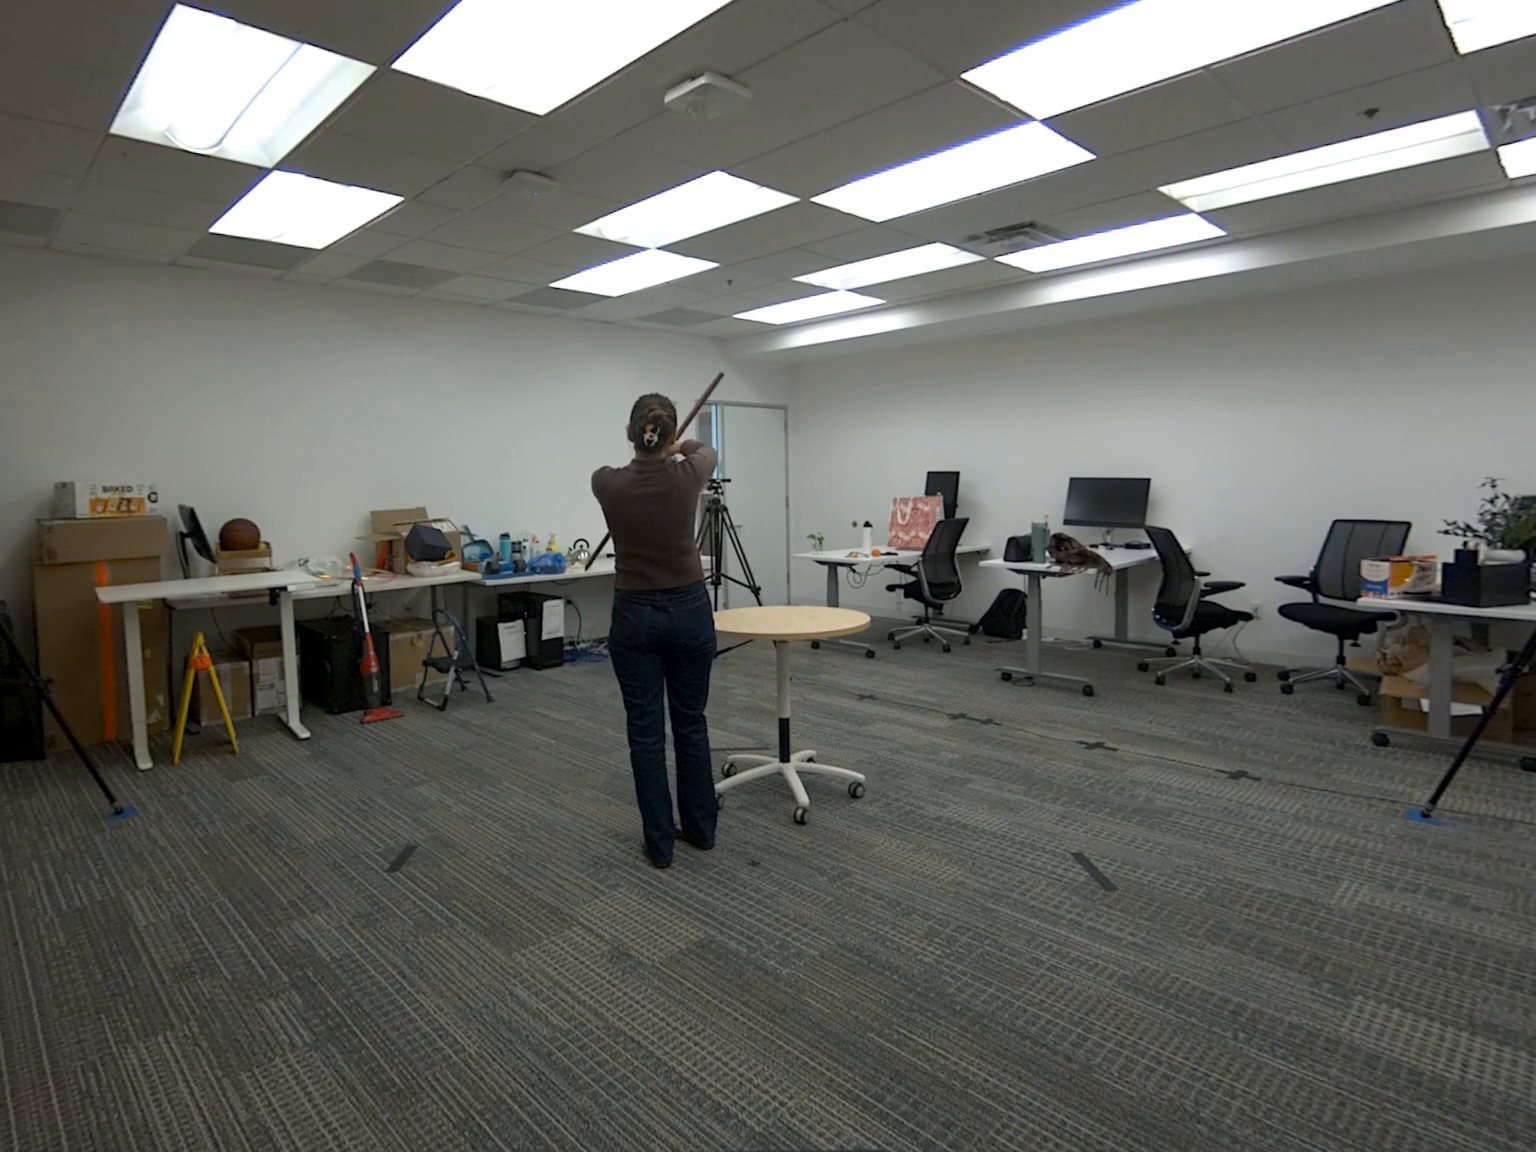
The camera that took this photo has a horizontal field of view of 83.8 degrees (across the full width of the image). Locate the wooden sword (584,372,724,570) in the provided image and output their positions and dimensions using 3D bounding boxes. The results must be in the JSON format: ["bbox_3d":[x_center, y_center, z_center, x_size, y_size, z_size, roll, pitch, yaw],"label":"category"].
[{"bbox_3d":[-0.487,-0.441,3.618,0.050,1.023,0.025,31,12,-25],"label":"wooden sword"}]
